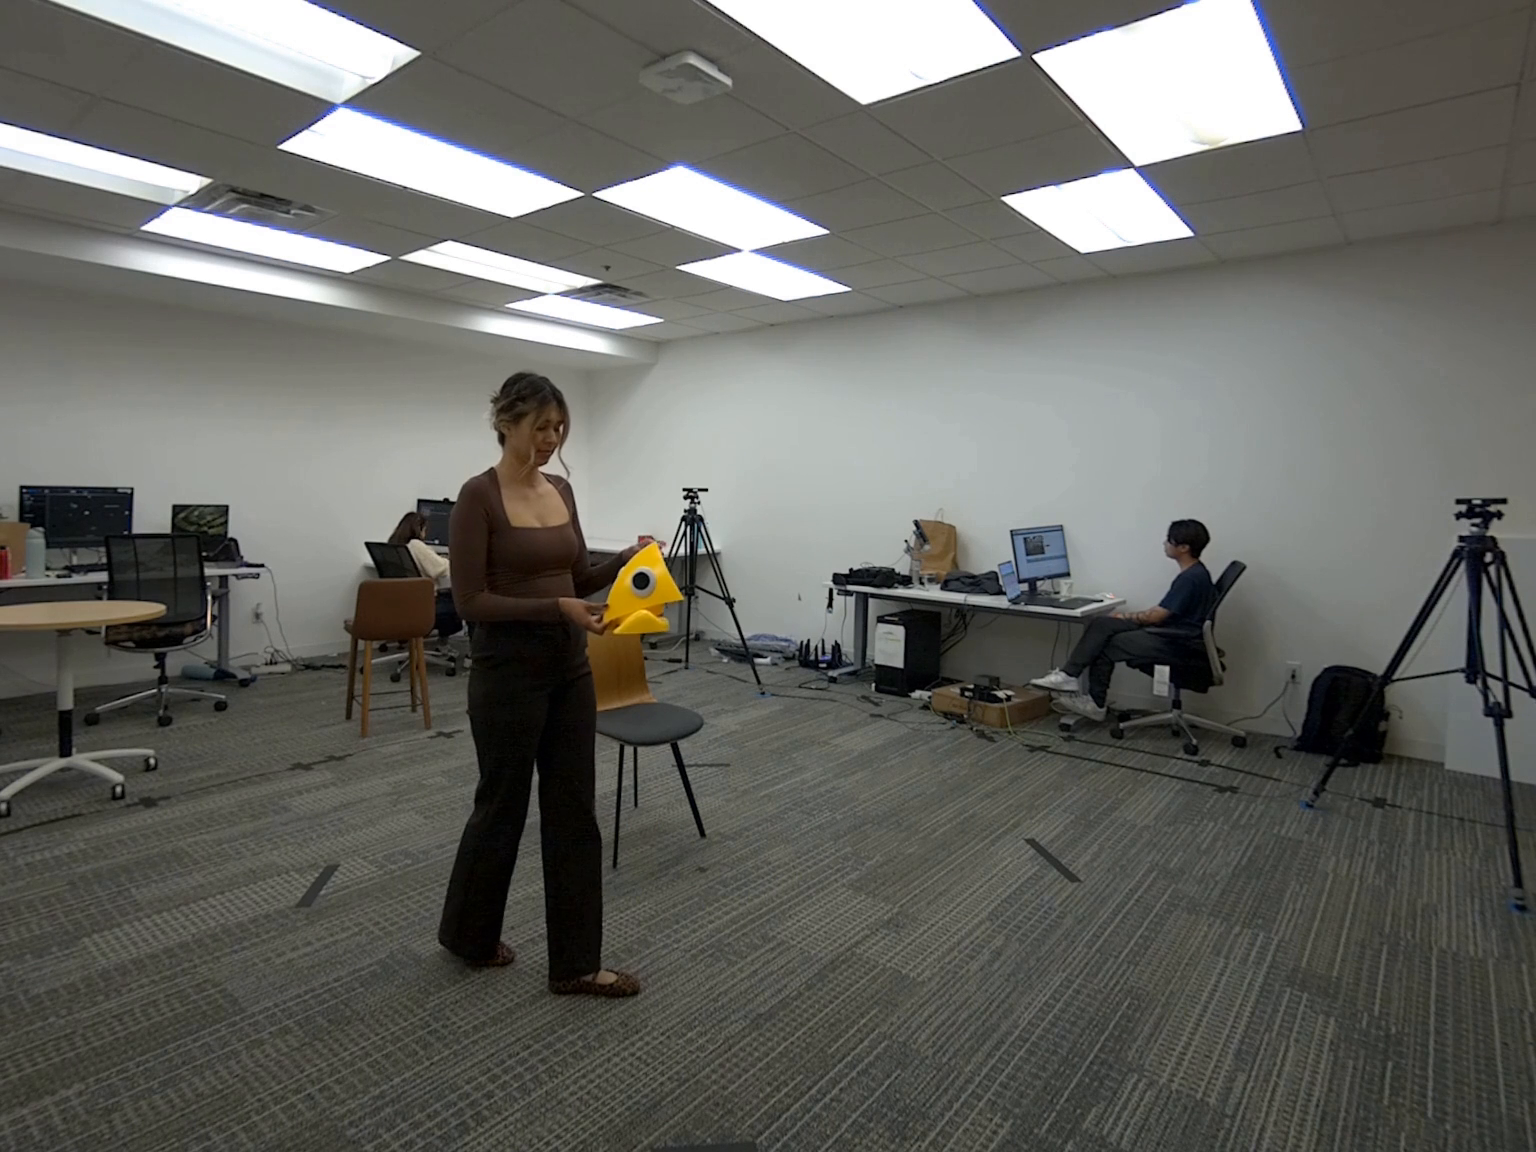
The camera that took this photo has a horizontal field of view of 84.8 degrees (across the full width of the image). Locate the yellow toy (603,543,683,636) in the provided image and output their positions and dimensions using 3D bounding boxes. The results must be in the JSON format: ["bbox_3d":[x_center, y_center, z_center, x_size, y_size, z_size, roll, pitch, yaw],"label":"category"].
[{"bbox_3d":[-0.367,0.031,2.239,0.188,0.230,0.210,-3,2,-31],"label":"yellow toy"}]
